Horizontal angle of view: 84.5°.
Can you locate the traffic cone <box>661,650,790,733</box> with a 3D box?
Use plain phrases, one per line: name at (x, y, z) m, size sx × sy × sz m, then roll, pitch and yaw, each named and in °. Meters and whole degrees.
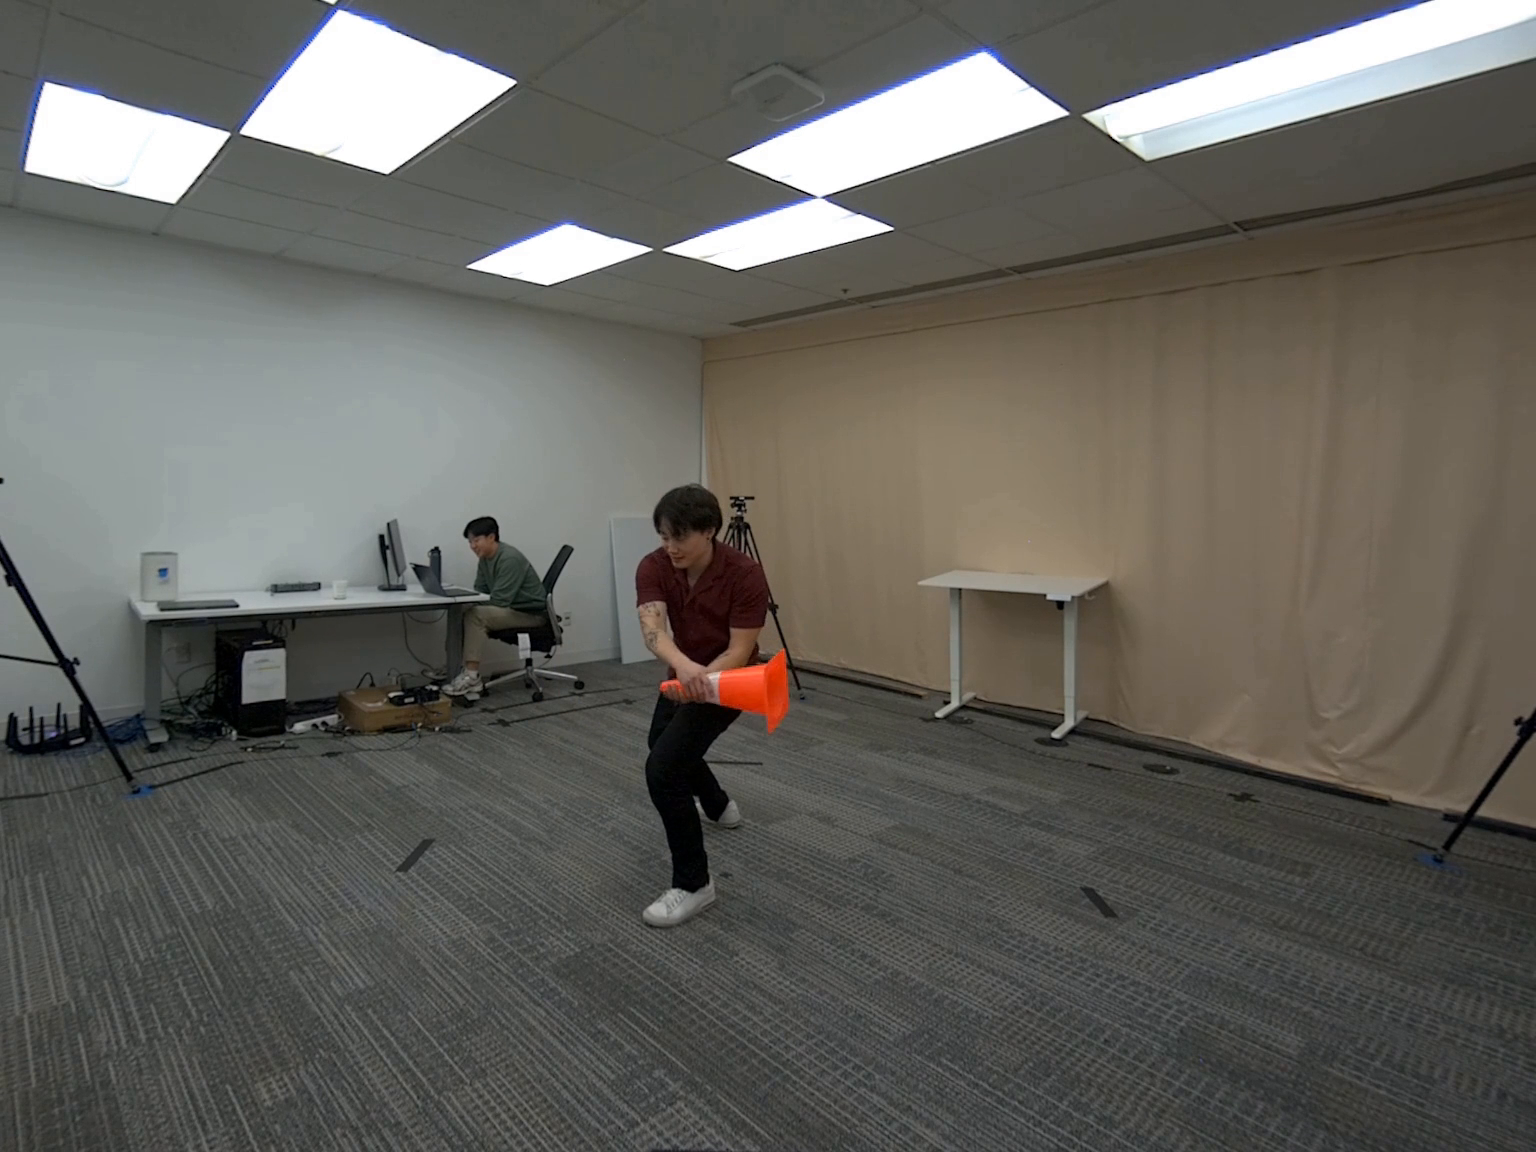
traffic cone at (-0.160, 0.344, 2.560) m, size 0.389 × 0.202 × 0.203 m, roll -4°, pitch 9°, yaw 20°
